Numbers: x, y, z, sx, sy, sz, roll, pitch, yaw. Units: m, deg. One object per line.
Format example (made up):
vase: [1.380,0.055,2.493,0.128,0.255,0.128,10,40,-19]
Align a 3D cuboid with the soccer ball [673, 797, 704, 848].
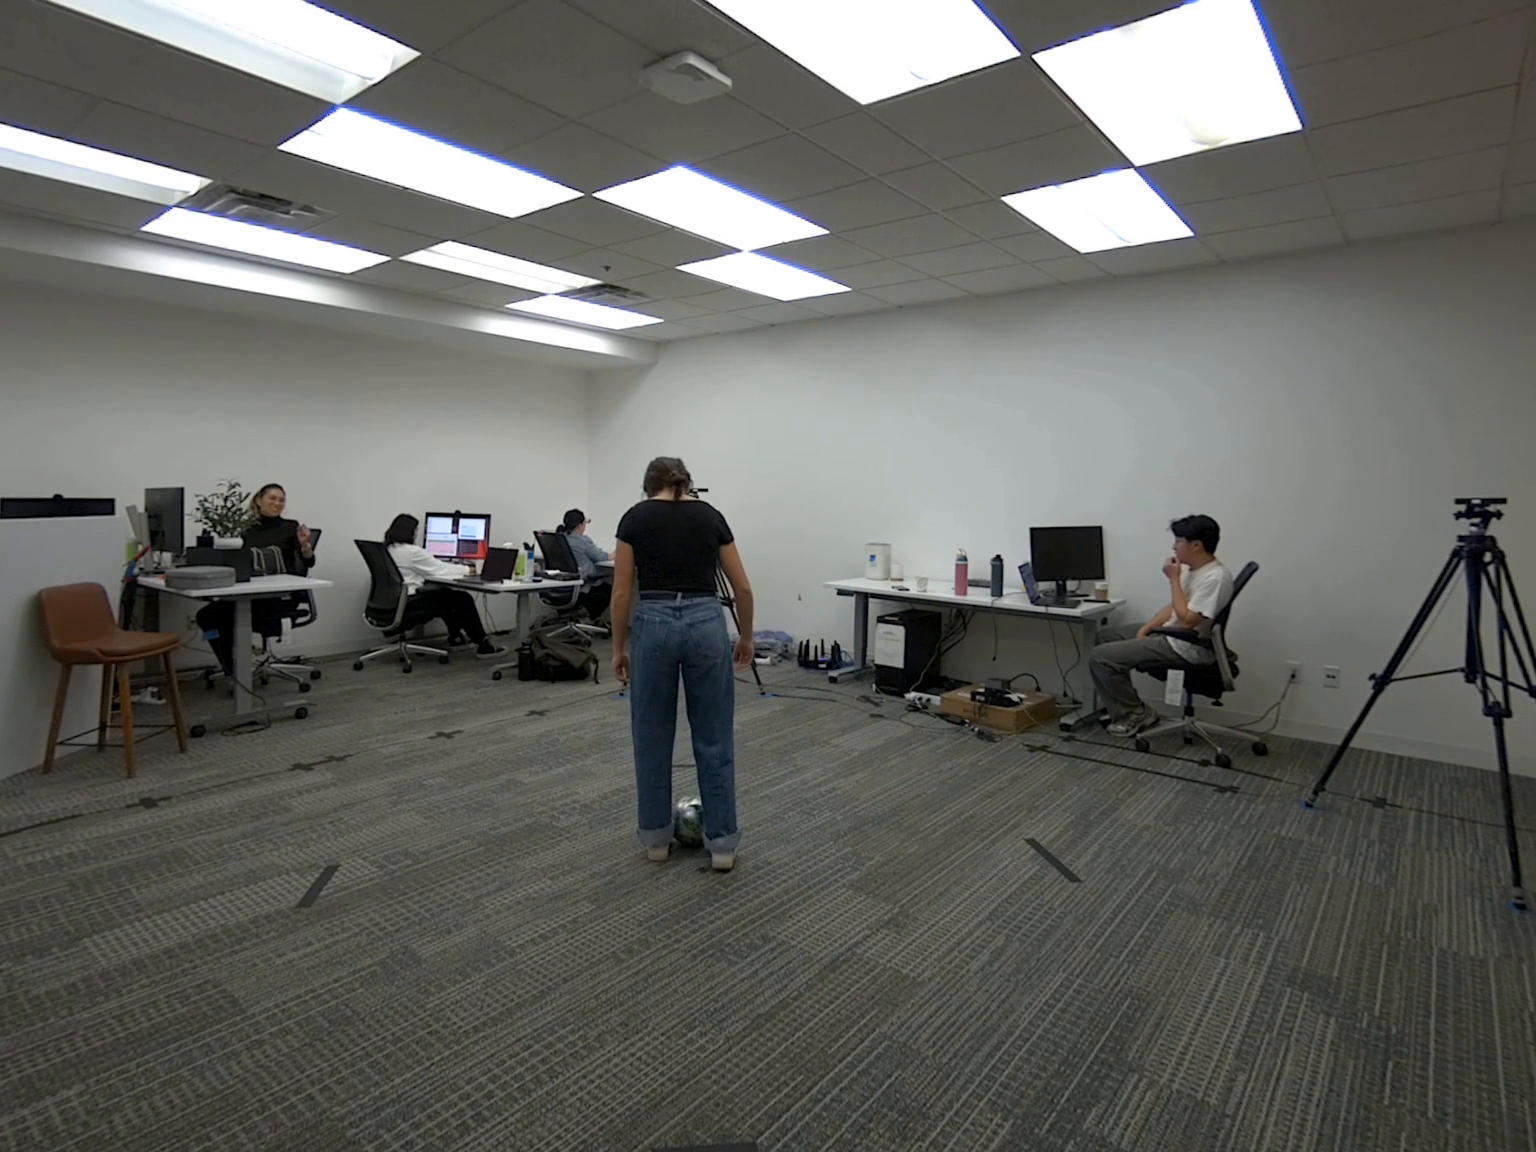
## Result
soccer ball: [-0.293,0.953,3.328,0.187,0.187,0.188,1,4,-2]
